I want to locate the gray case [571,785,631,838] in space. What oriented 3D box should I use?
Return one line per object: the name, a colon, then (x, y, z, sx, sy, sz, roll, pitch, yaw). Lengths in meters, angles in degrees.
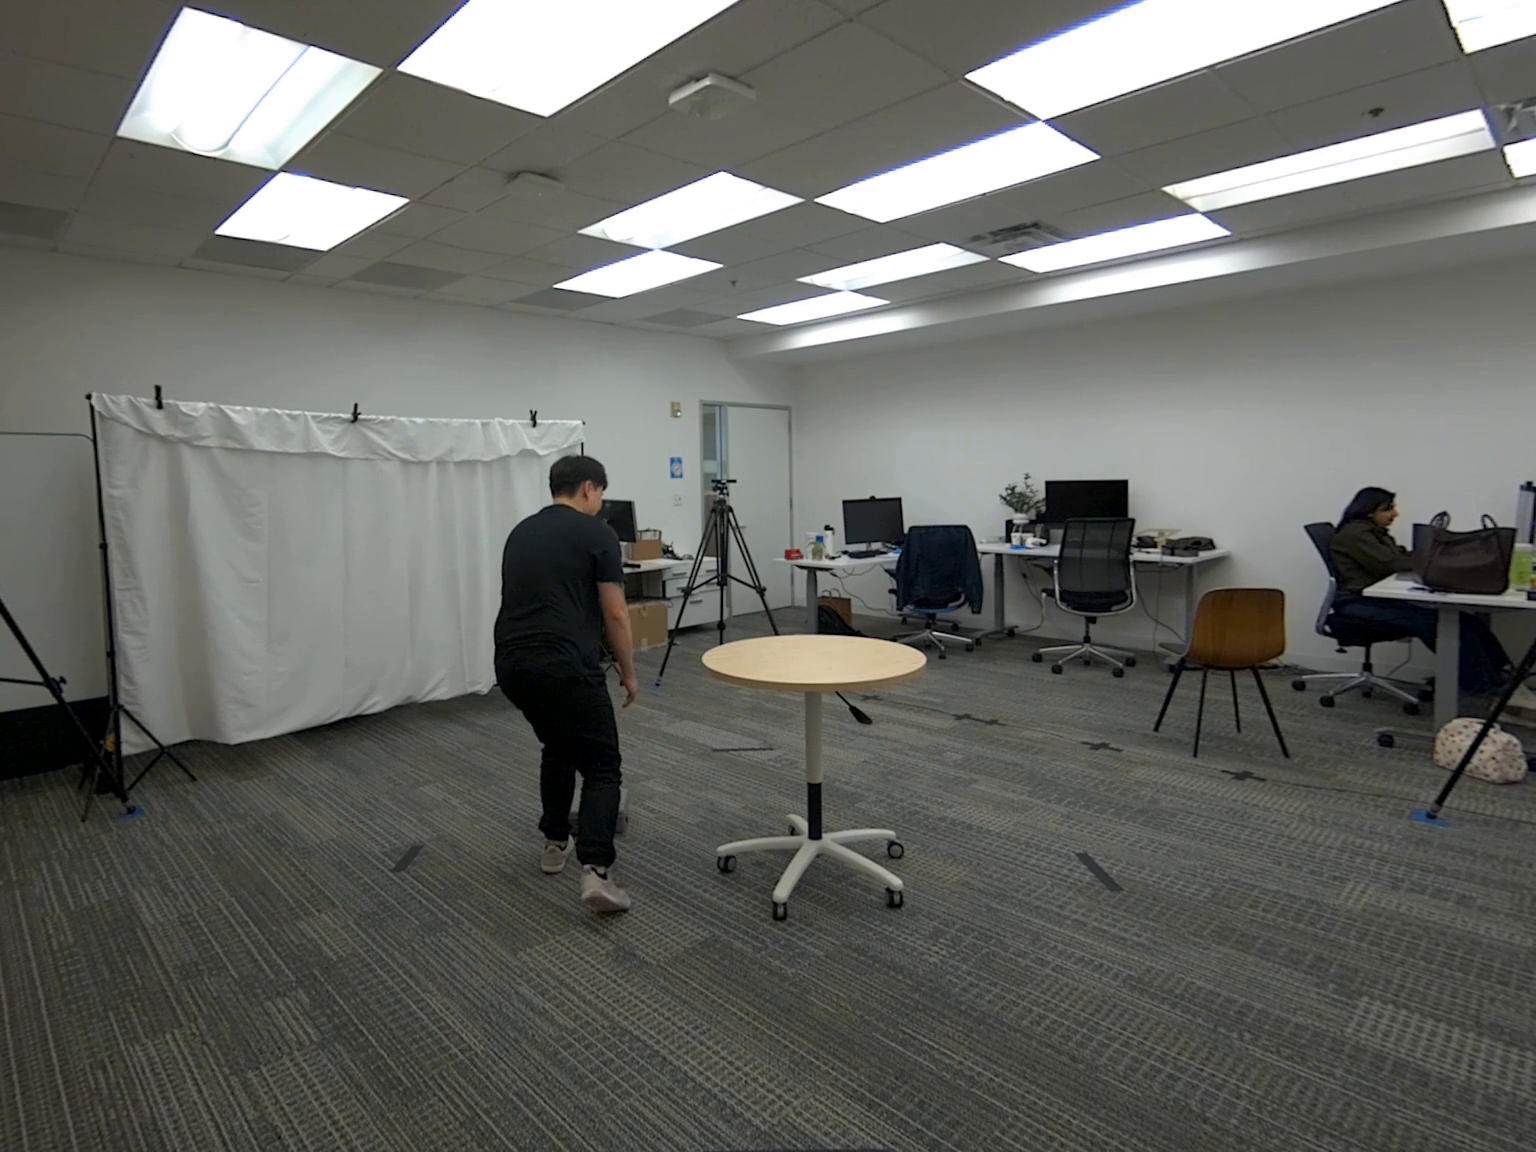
gray case: (-0.701, 0.959, 3.509, 0.256, 0.104, 0.263, -2, 6, -5)
